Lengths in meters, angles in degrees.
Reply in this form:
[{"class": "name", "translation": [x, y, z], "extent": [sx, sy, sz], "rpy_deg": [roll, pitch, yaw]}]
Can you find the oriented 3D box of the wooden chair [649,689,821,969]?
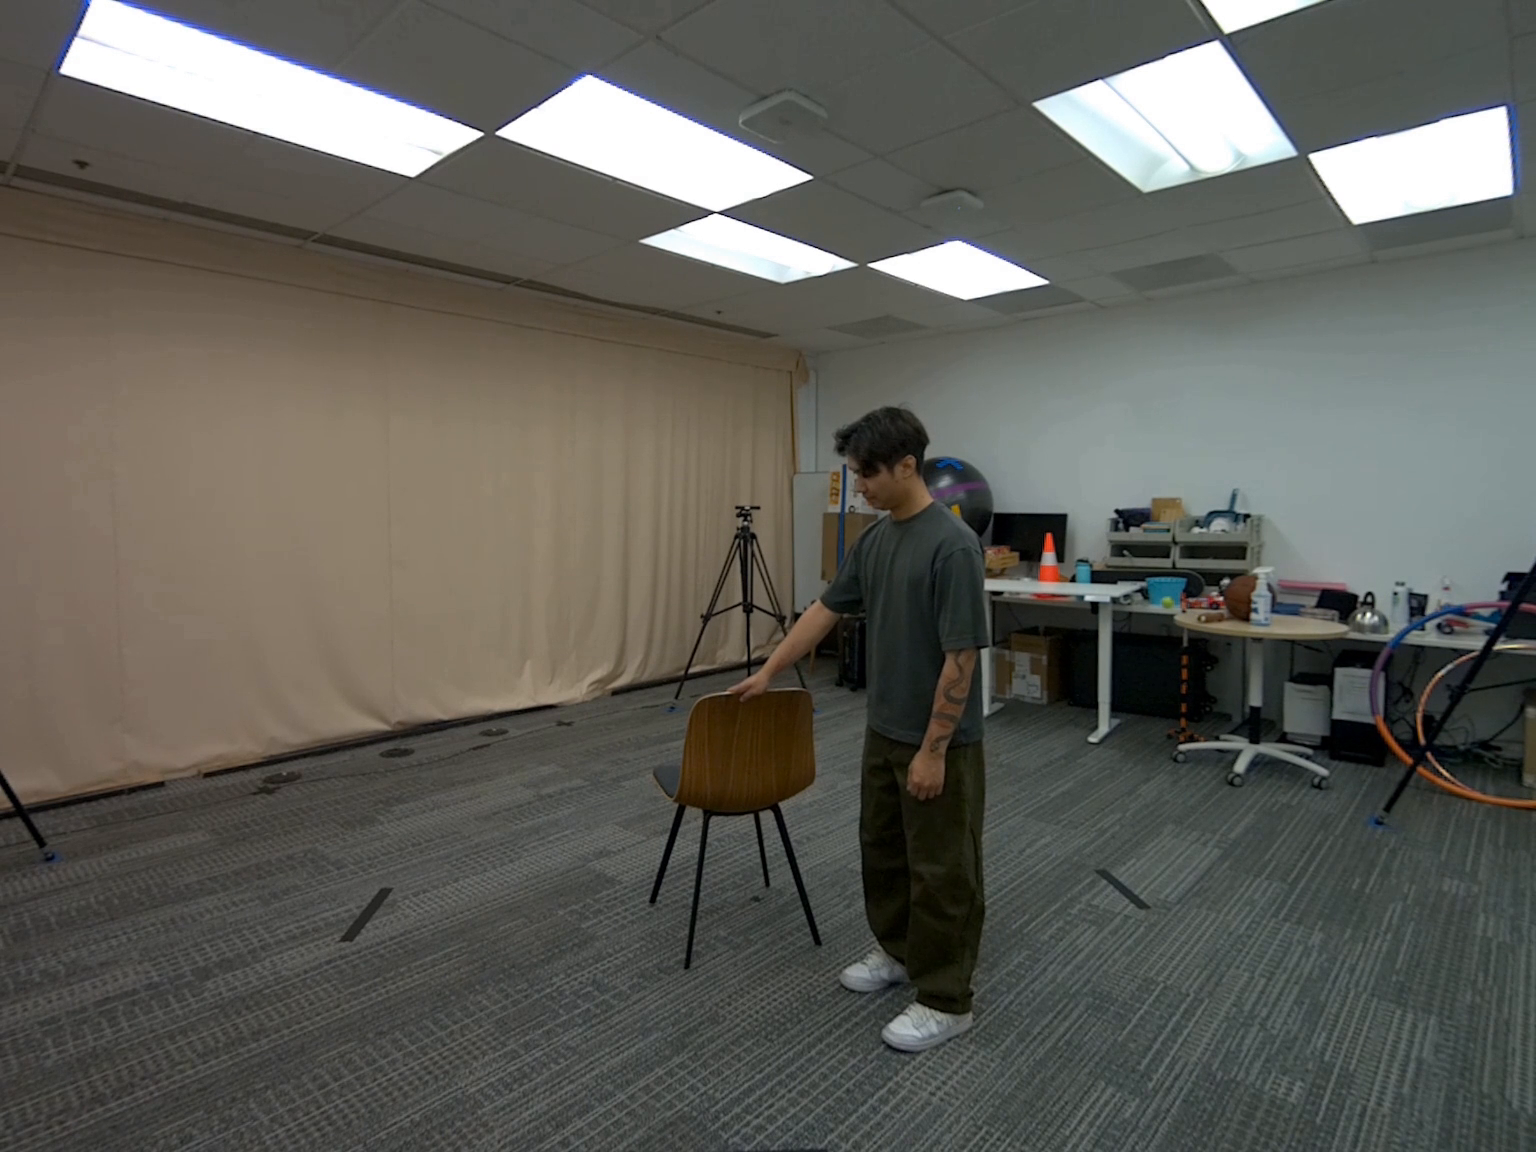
[{"class": "wooden chair", "translation": [-0.123, 0.735, 2.788], "extent": [0.469, 0.873, 0.536], "rpy_deg": [-2, 8, -20]}]
